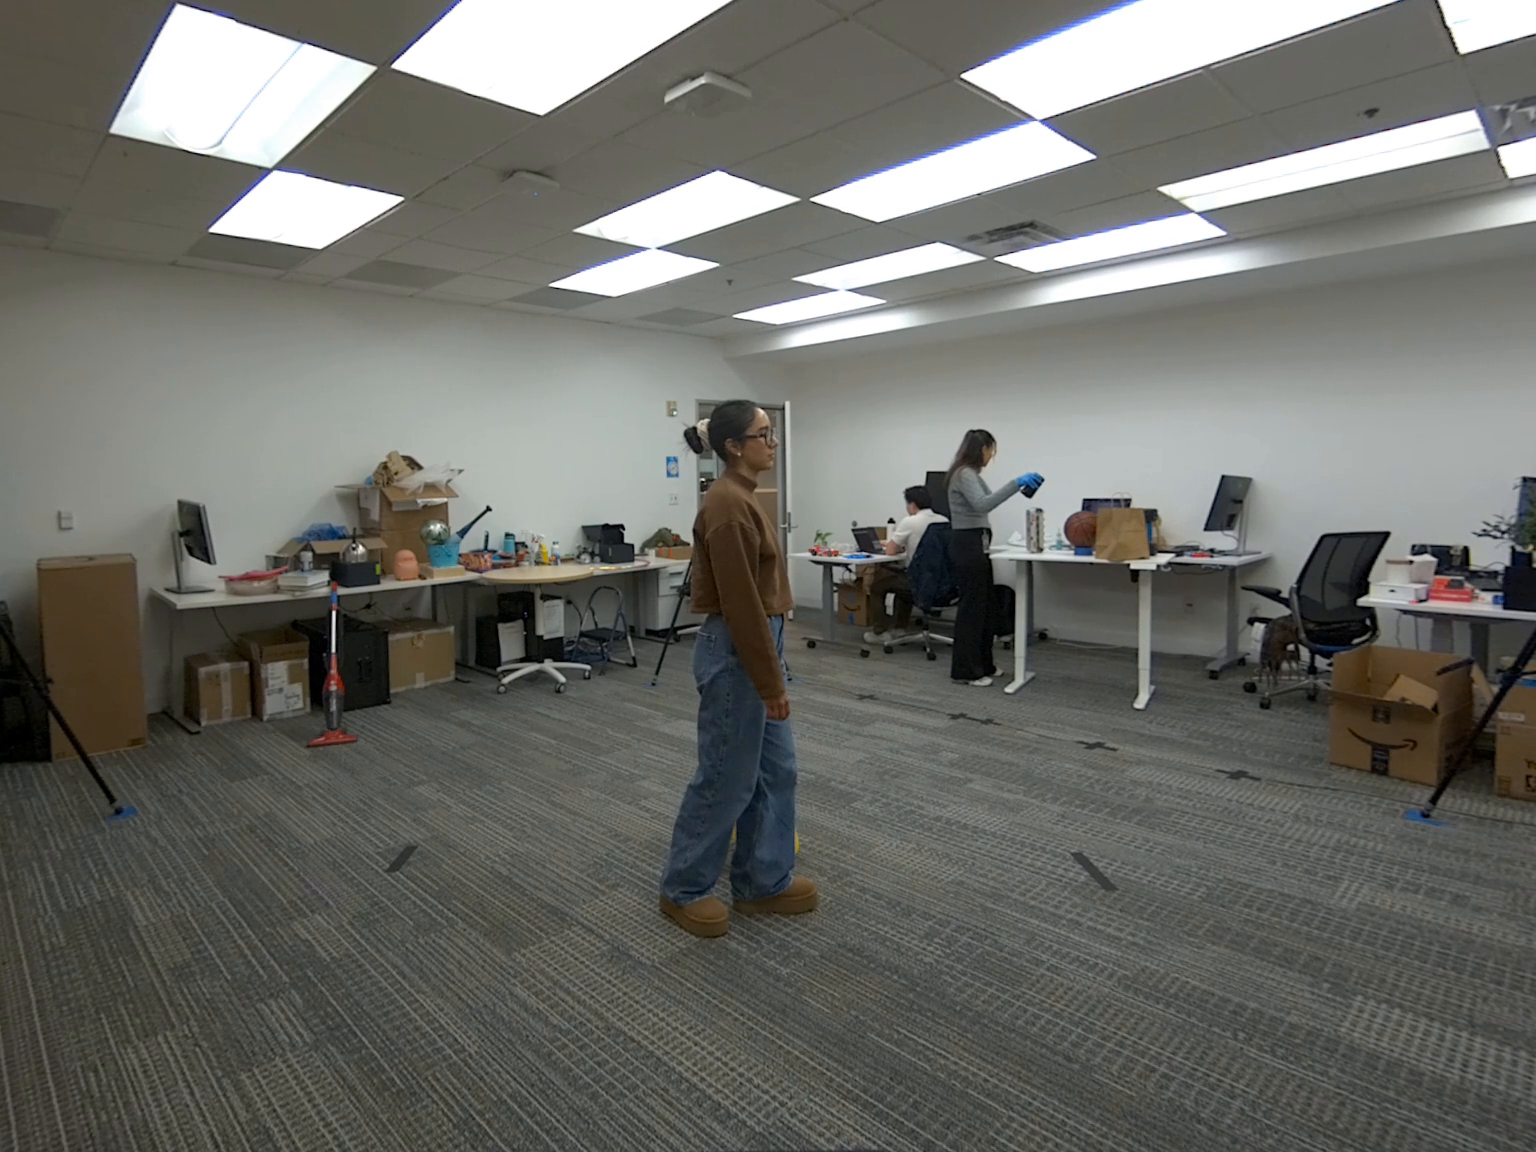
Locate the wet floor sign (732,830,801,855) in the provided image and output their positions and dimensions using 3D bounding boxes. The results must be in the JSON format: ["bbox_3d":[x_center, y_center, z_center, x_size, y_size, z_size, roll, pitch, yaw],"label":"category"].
[{"bbox_3d":[-0.045,0.719,3.124,0.294,0.644,0.279,0,3,16],"label":"wet floor sign"}]
